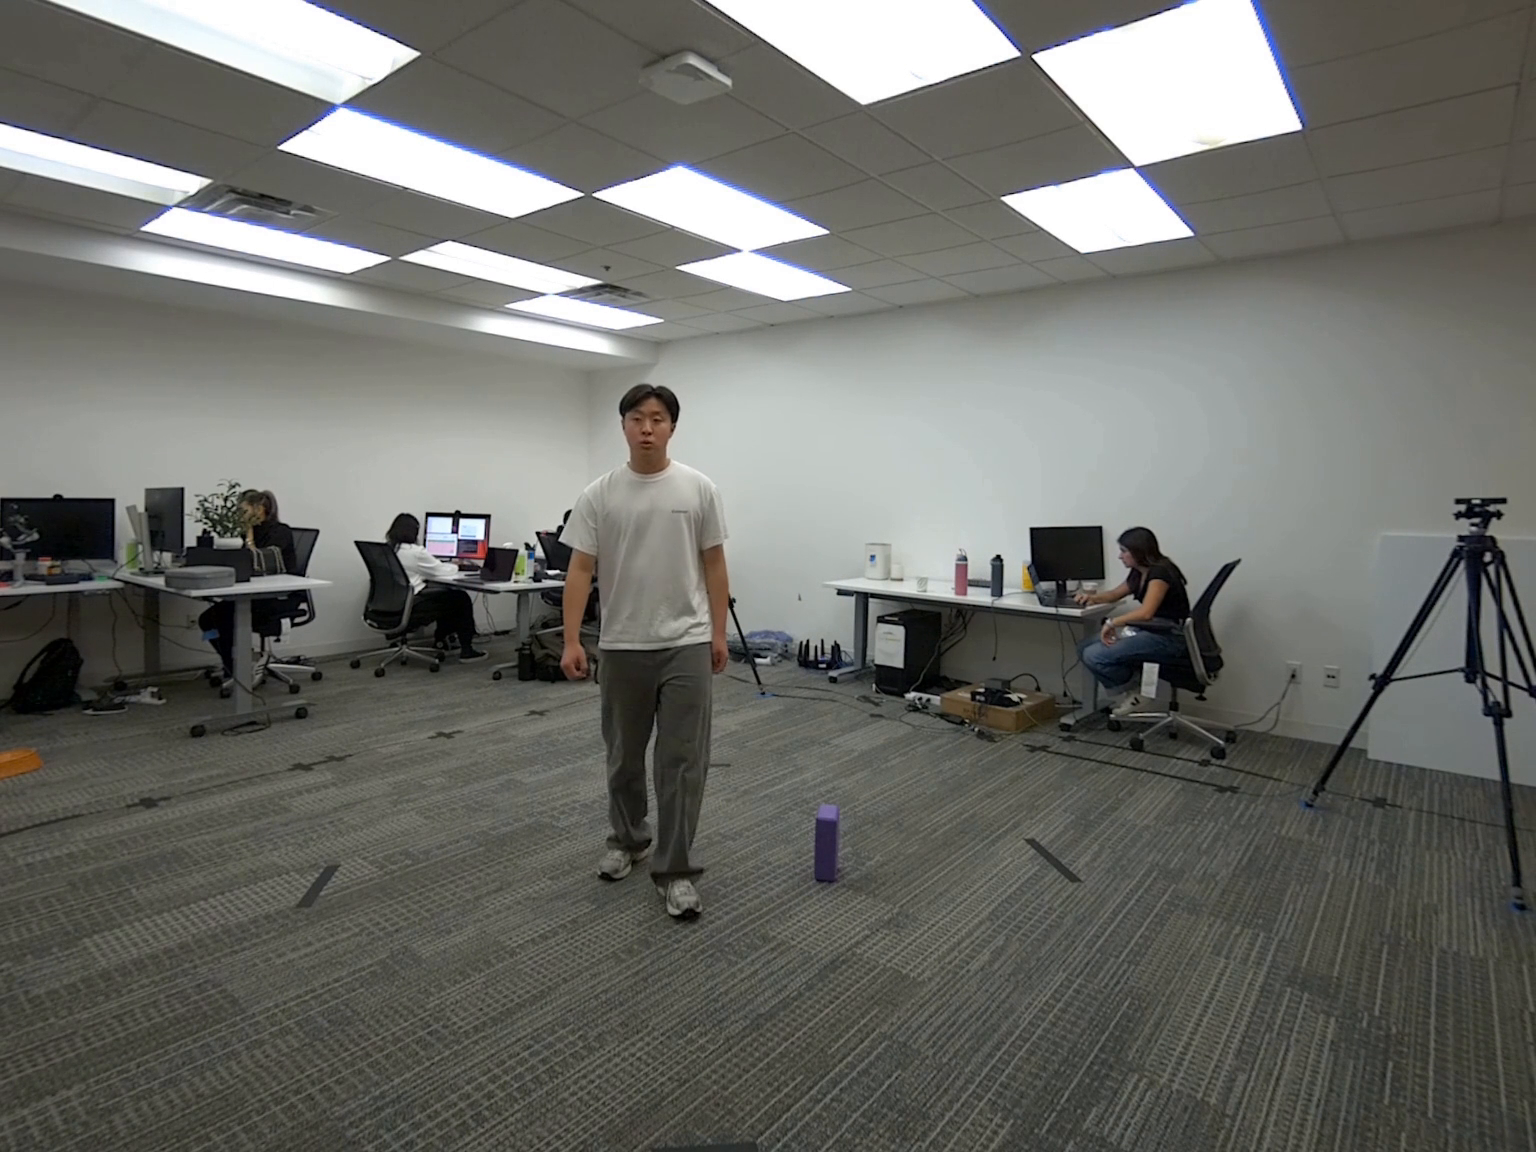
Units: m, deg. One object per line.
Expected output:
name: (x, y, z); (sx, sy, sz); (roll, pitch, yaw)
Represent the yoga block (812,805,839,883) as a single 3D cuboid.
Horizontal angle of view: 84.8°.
yoga block: (0.216, 0.963, 3.093); (0.077, 0.228, 0.148); (3, 4, 8)
